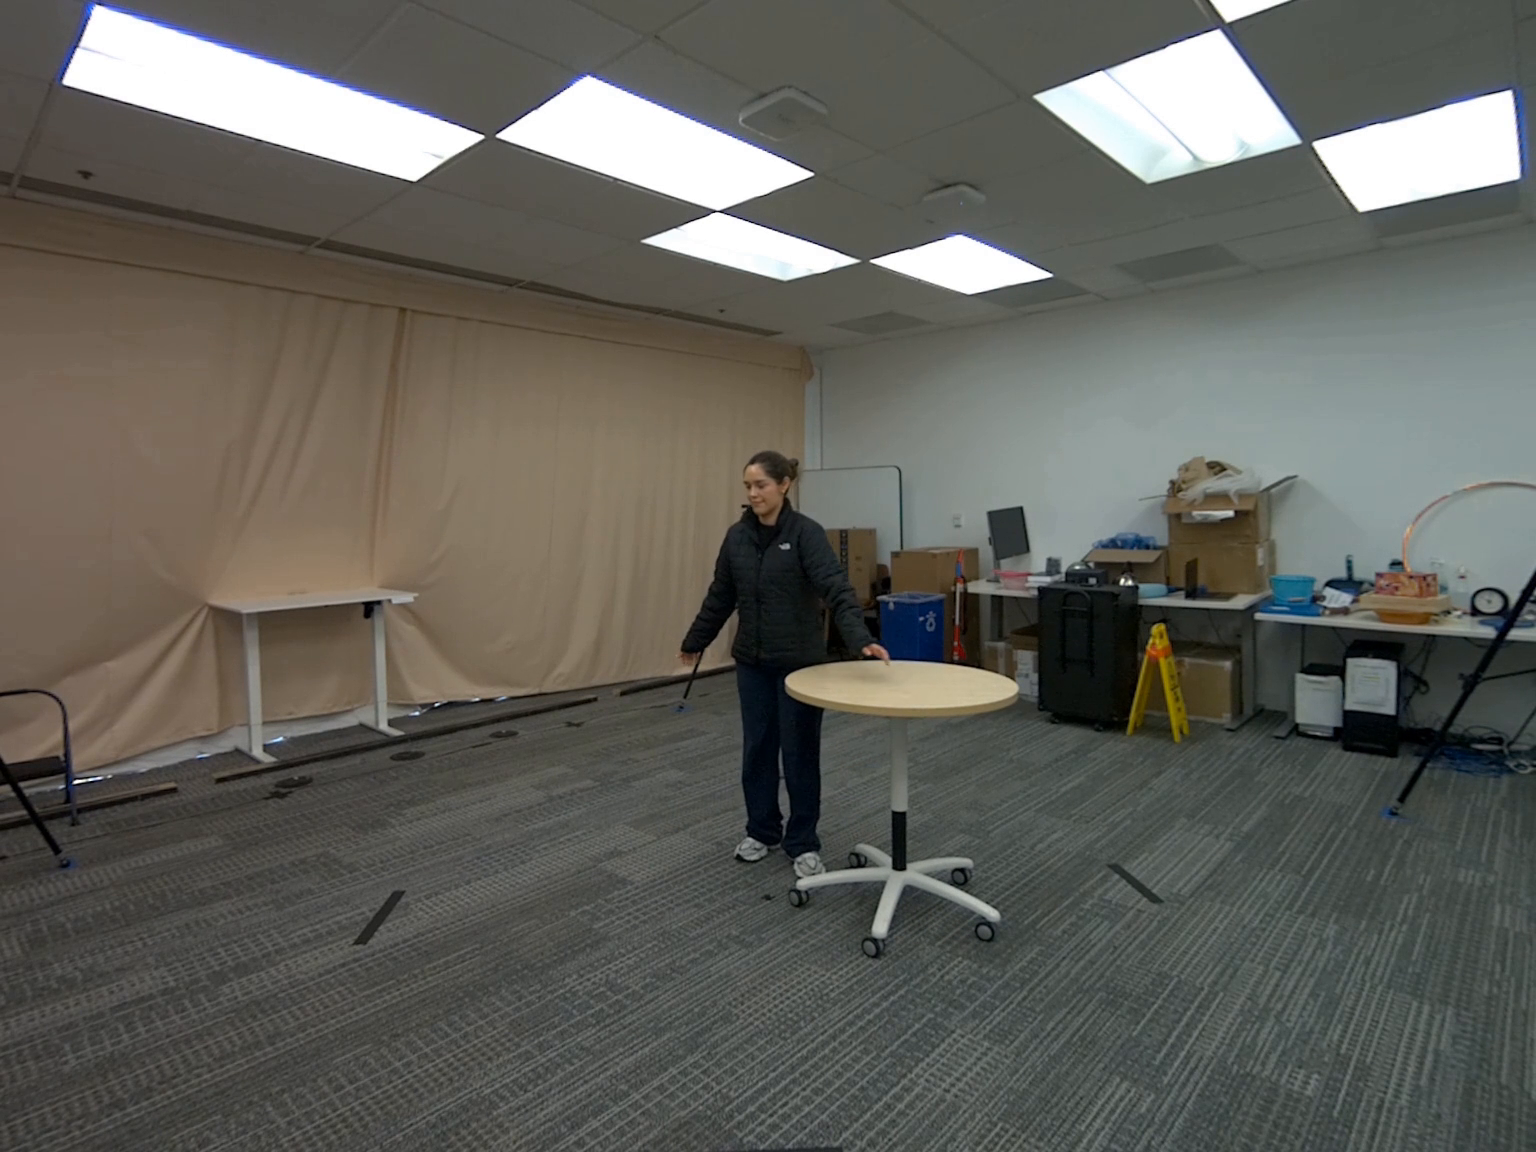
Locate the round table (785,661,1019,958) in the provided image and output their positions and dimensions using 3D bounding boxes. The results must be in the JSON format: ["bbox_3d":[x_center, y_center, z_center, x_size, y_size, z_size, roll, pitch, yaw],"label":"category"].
[{"bbox_3d":[0.452,0.748,2.871,0.784,0.785,0.788,0,4,-2],"label":"round table"}]
